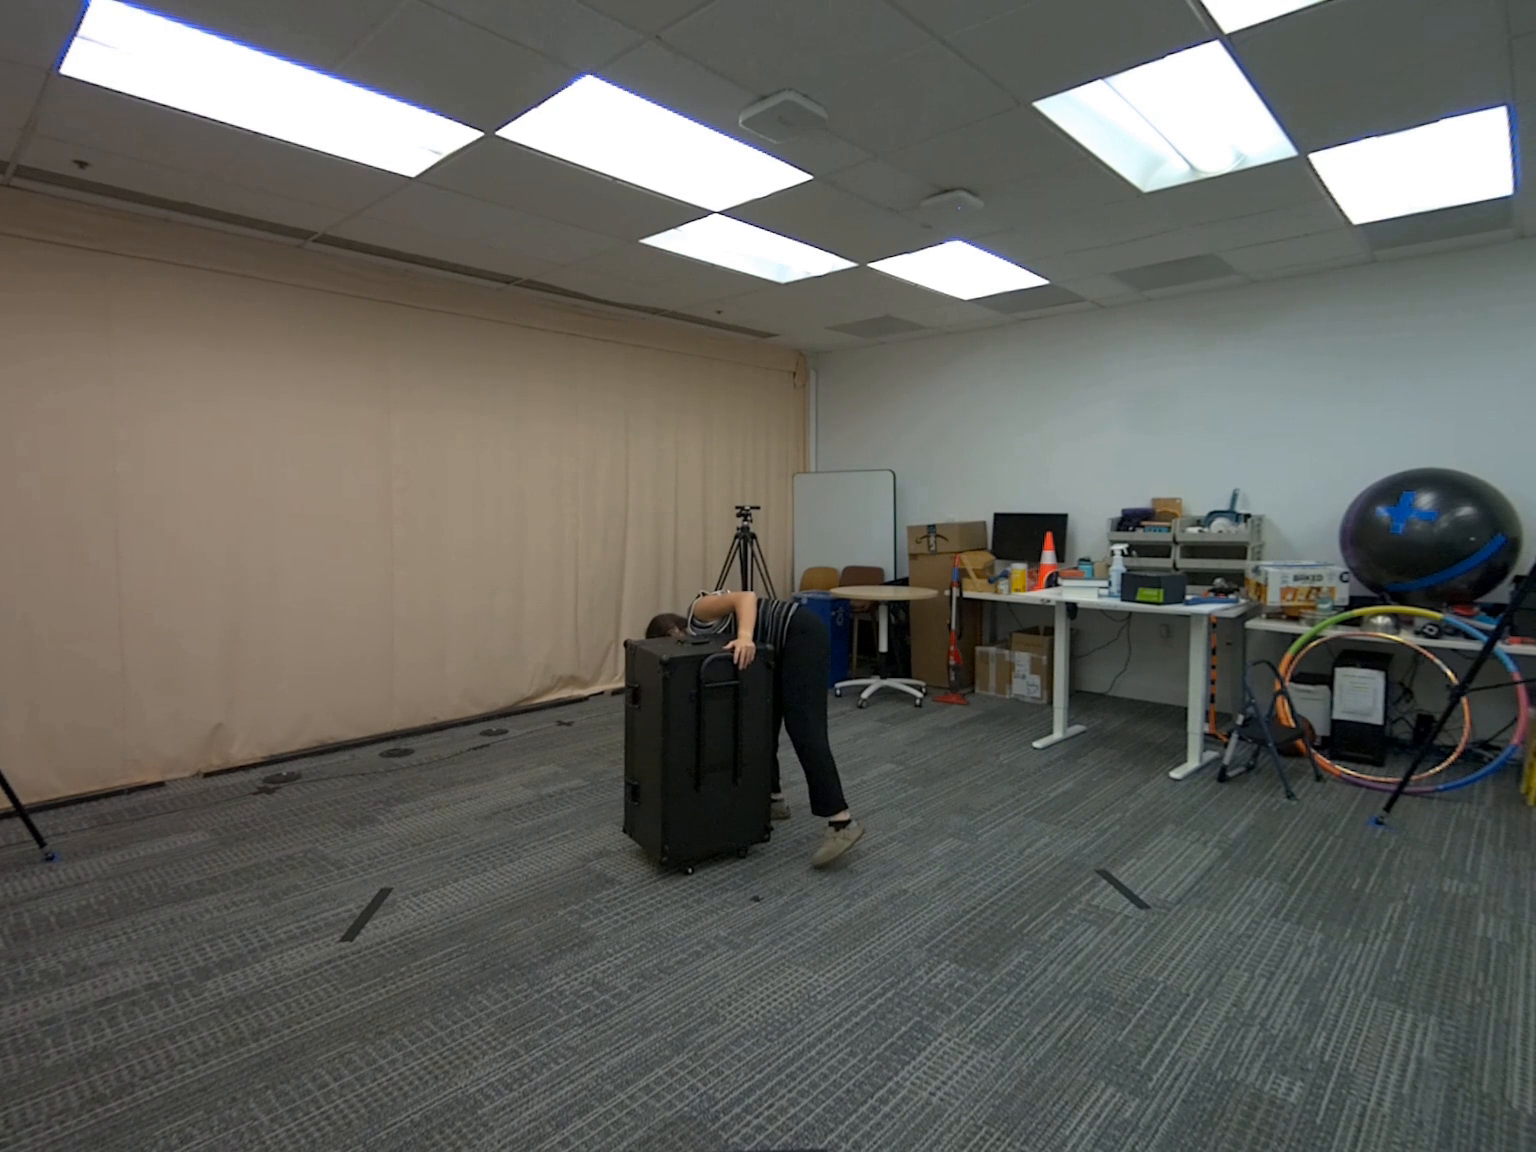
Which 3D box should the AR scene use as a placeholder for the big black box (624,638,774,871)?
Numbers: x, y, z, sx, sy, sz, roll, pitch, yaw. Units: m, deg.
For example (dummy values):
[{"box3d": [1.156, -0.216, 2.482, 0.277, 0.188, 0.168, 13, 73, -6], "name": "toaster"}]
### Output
[{"box3d": [-0.269, 0.689, 3.319, 0.507, 0.858, 0.408, -1, 6, -30], "name": "big black box"}]
